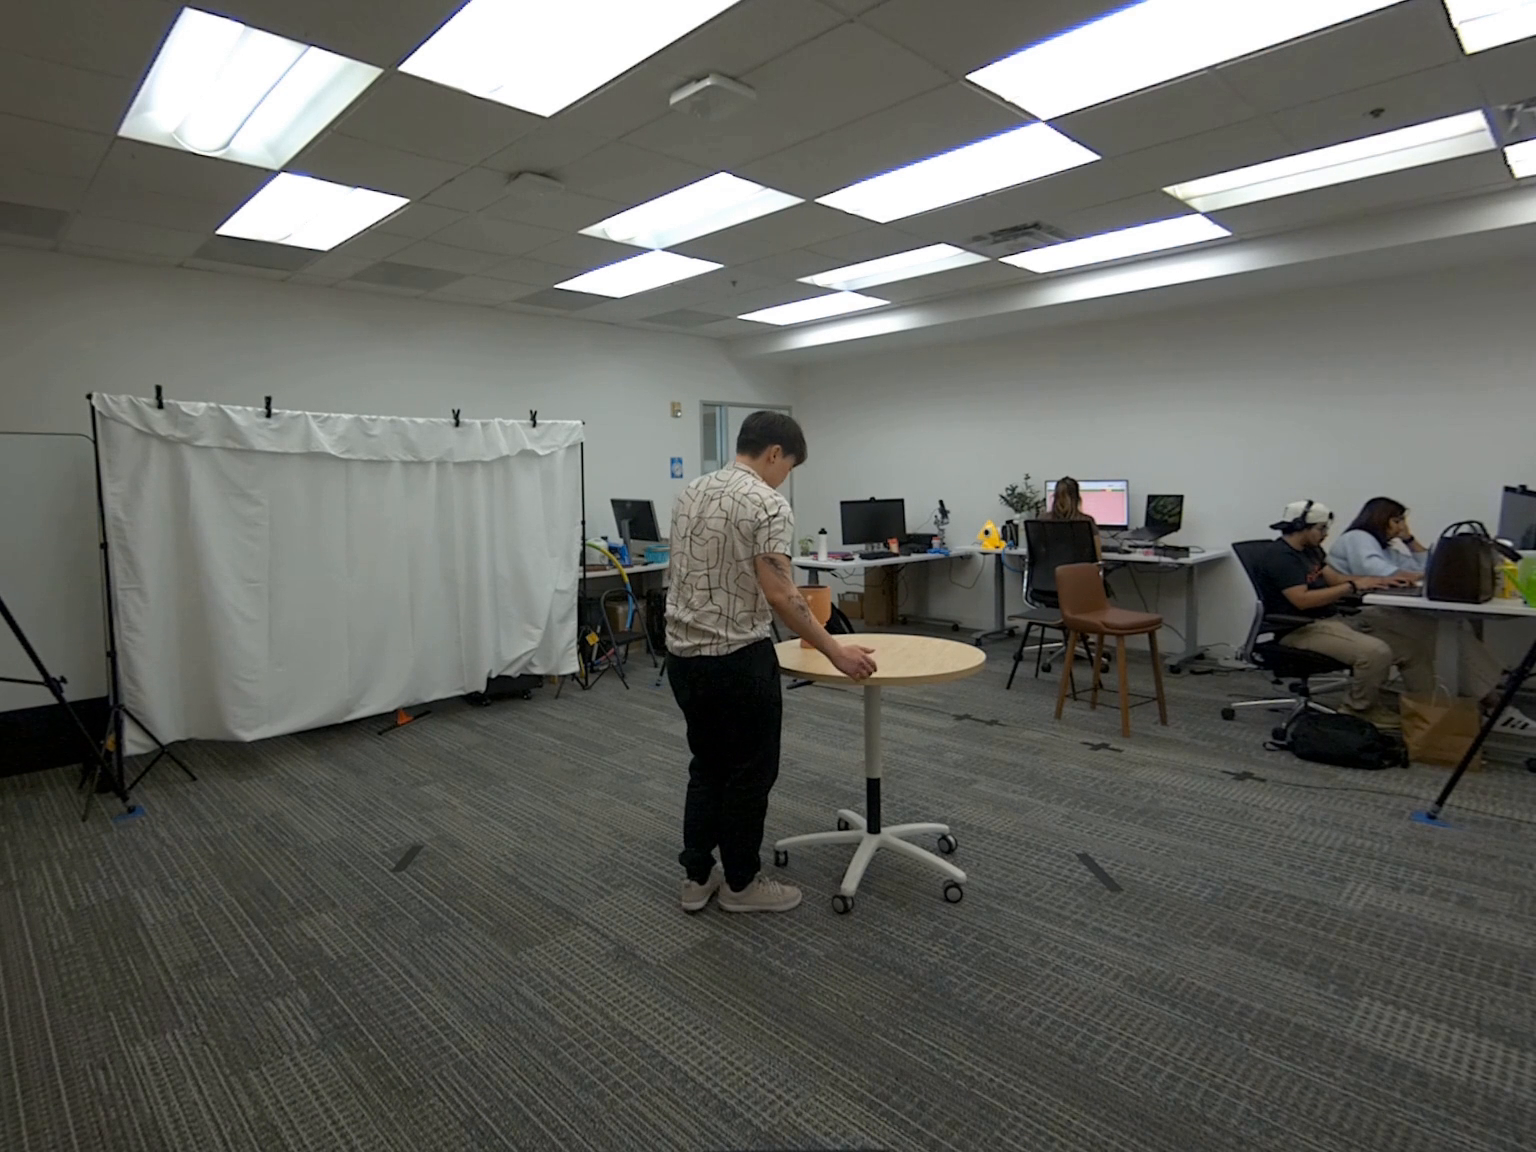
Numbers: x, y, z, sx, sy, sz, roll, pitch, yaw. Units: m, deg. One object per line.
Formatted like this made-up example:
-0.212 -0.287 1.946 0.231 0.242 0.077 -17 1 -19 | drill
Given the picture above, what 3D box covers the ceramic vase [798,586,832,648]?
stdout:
0.169 0.151 3.140 0.155 0.219 0.138 -5 4 -38 | ceramic vase
